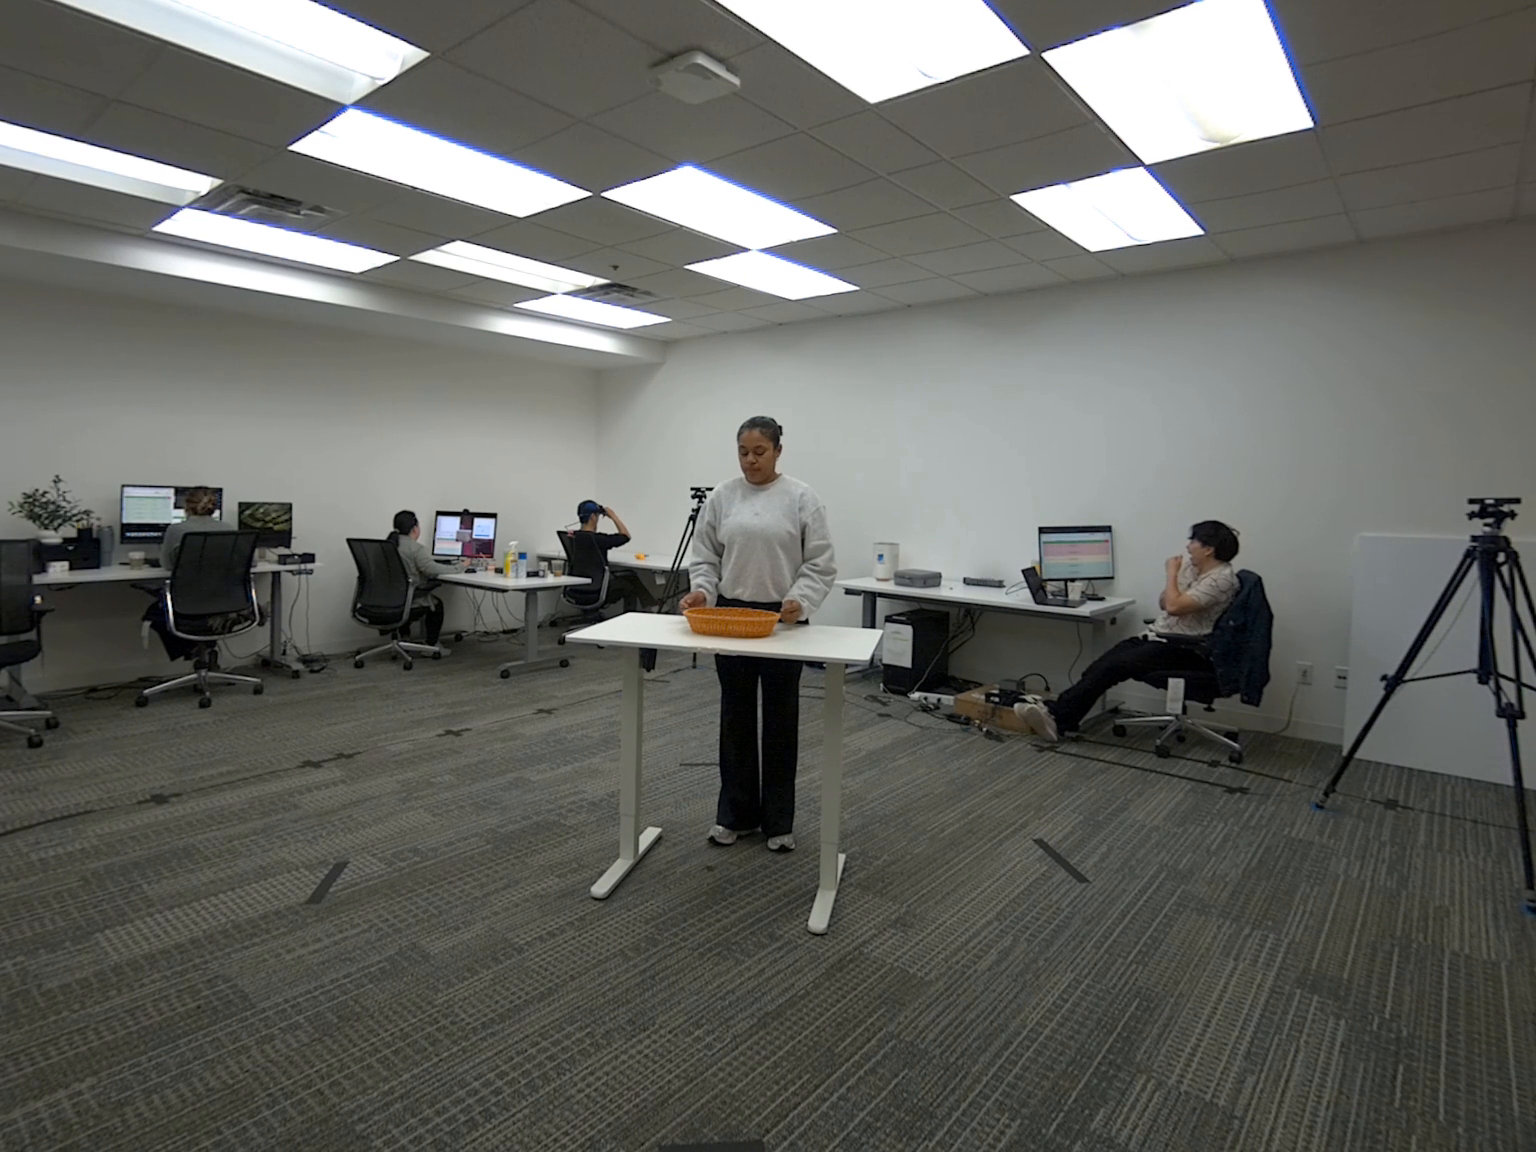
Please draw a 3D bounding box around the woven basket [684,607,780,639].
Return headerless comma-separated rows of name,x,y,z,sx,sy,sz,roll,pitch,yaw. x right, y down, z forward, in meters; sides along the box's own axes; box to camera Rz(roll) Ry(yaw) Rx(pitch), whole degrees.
woven basket,-0.130,0.164,3.005,0.356,0.073,0.249,3,6,15
